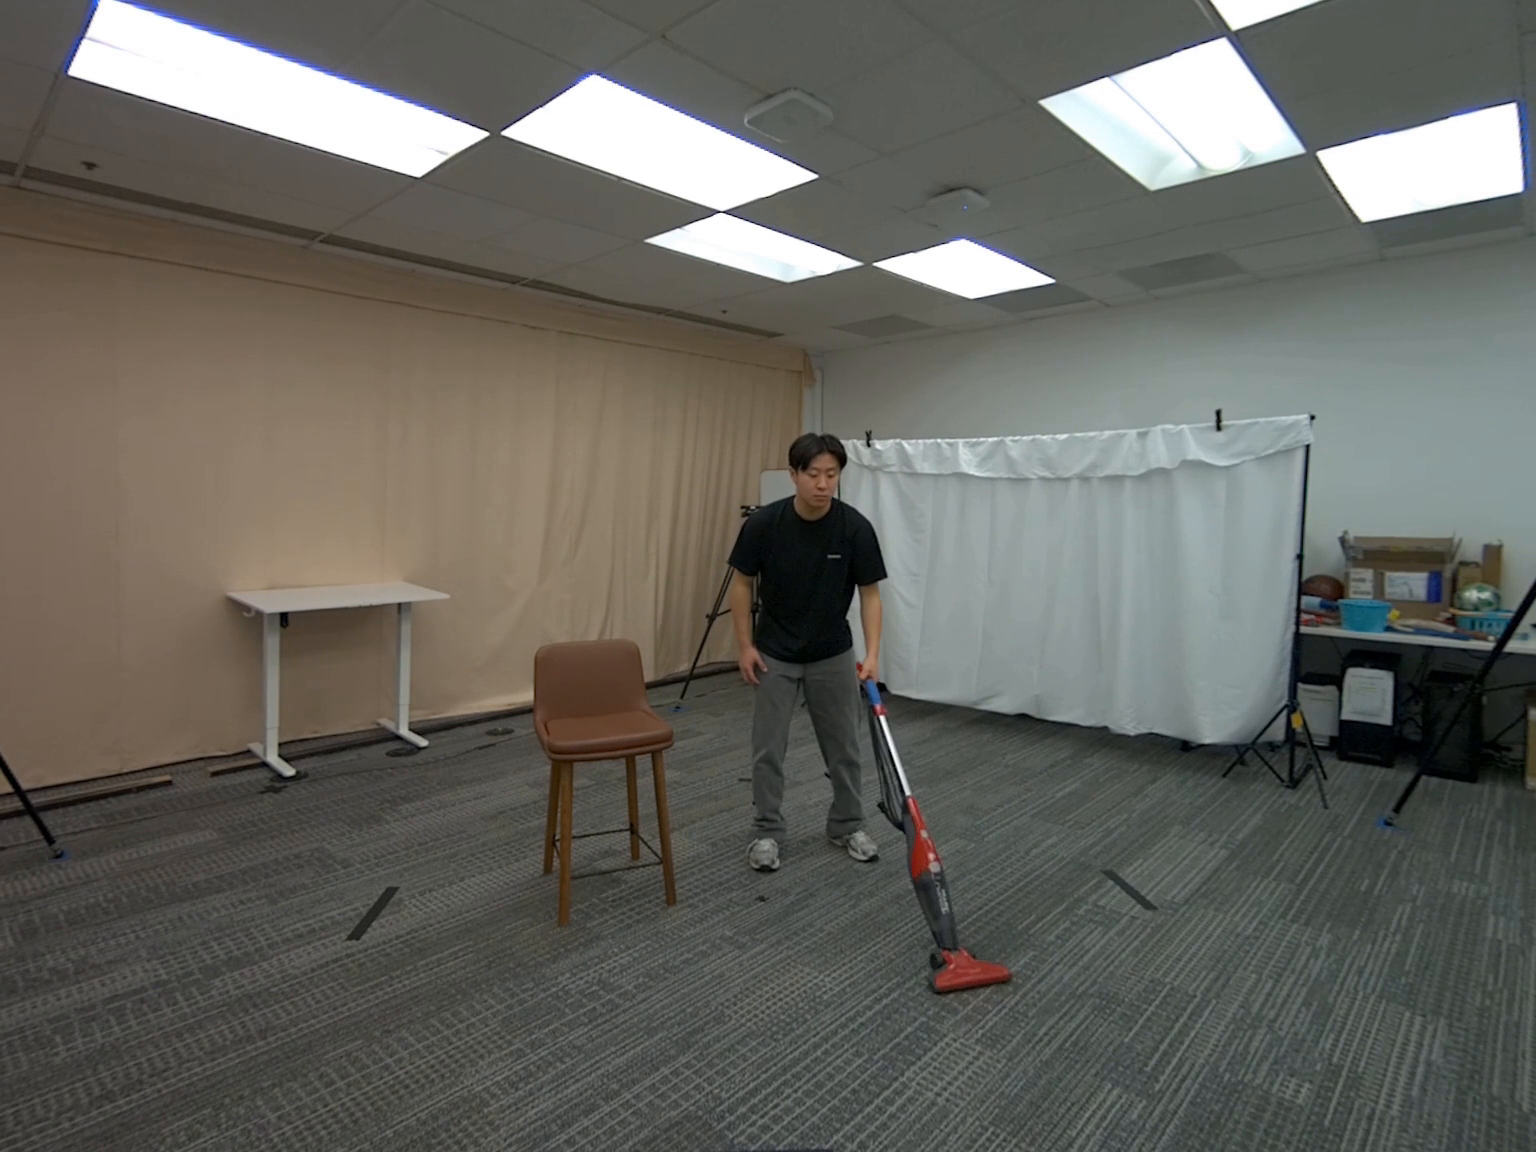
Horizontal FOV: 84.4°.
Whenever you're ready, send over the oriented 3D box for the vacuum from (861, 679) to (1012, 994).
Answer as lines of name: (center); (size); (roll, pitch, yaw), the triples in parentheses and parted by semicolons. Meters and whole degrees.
vacuum: (0.465, 0.758, 2.801); (0.247, 1.076, 0.143); (2, -40, -22)
